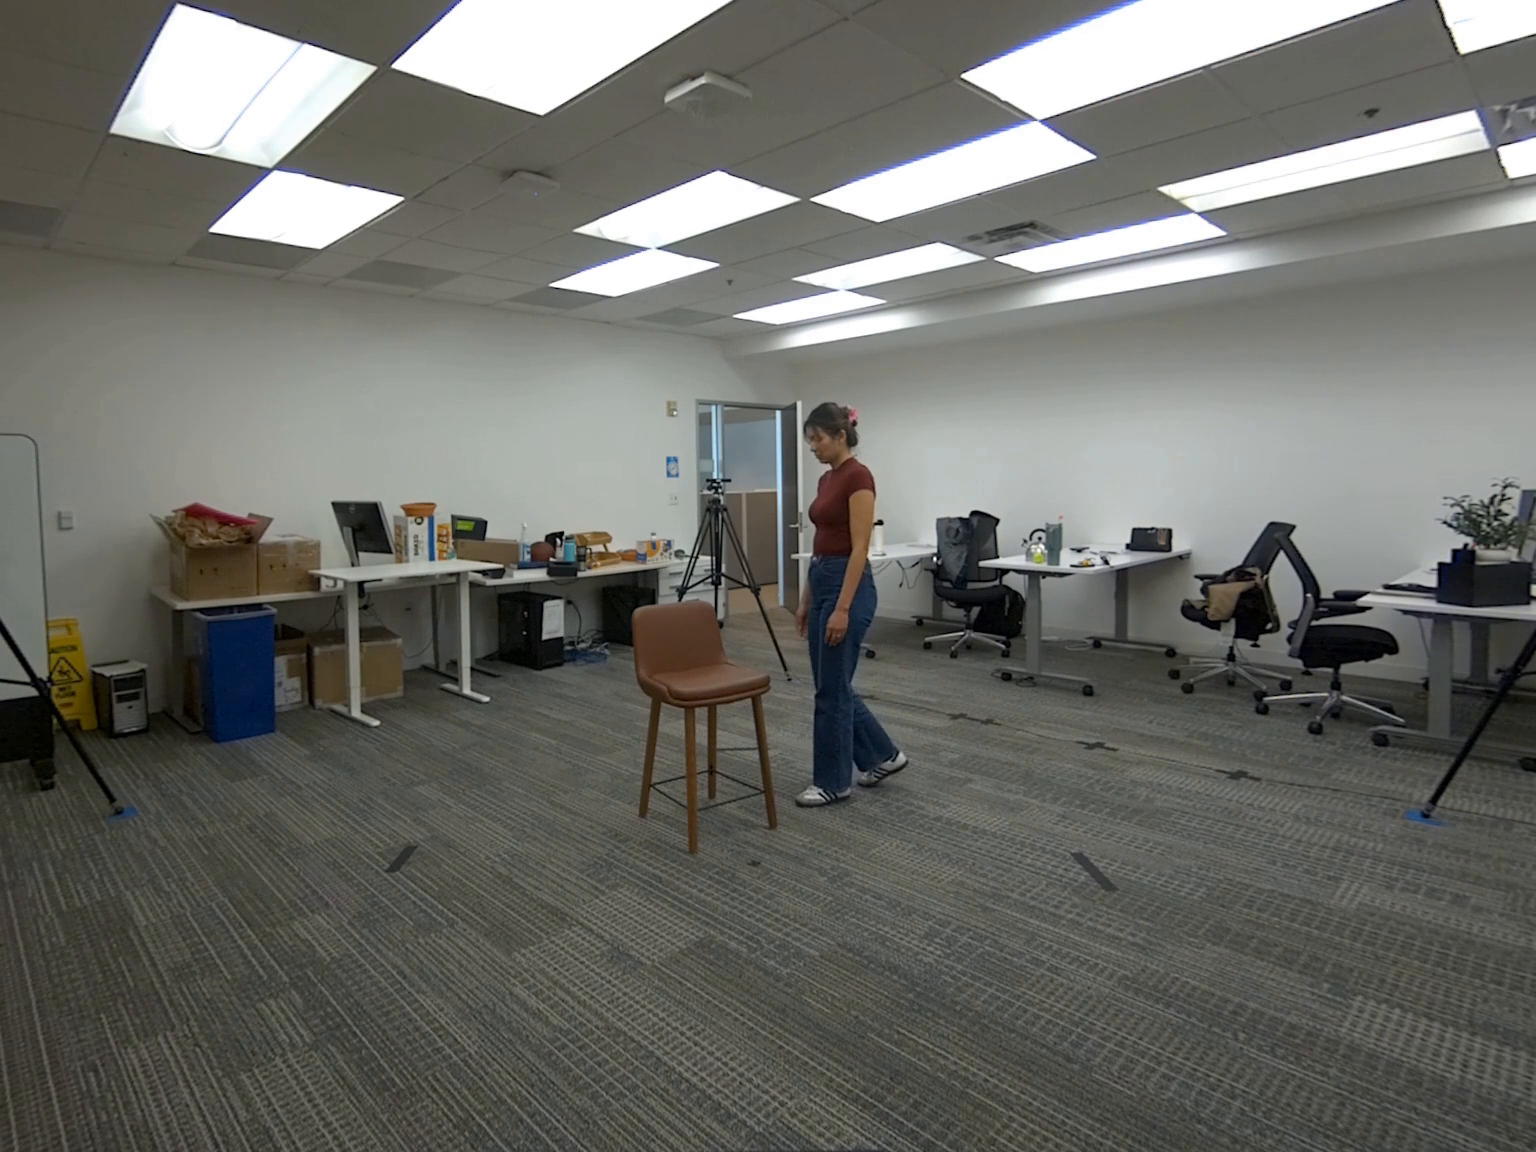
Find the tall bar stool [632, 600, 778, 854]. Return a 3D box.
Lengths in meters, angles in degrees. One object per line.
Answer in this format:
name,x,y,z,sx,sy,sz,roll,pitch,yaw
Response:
tall bar stool,-0.269,0.574,3.464,0.445,0.888,0.481,-4,3,-36
